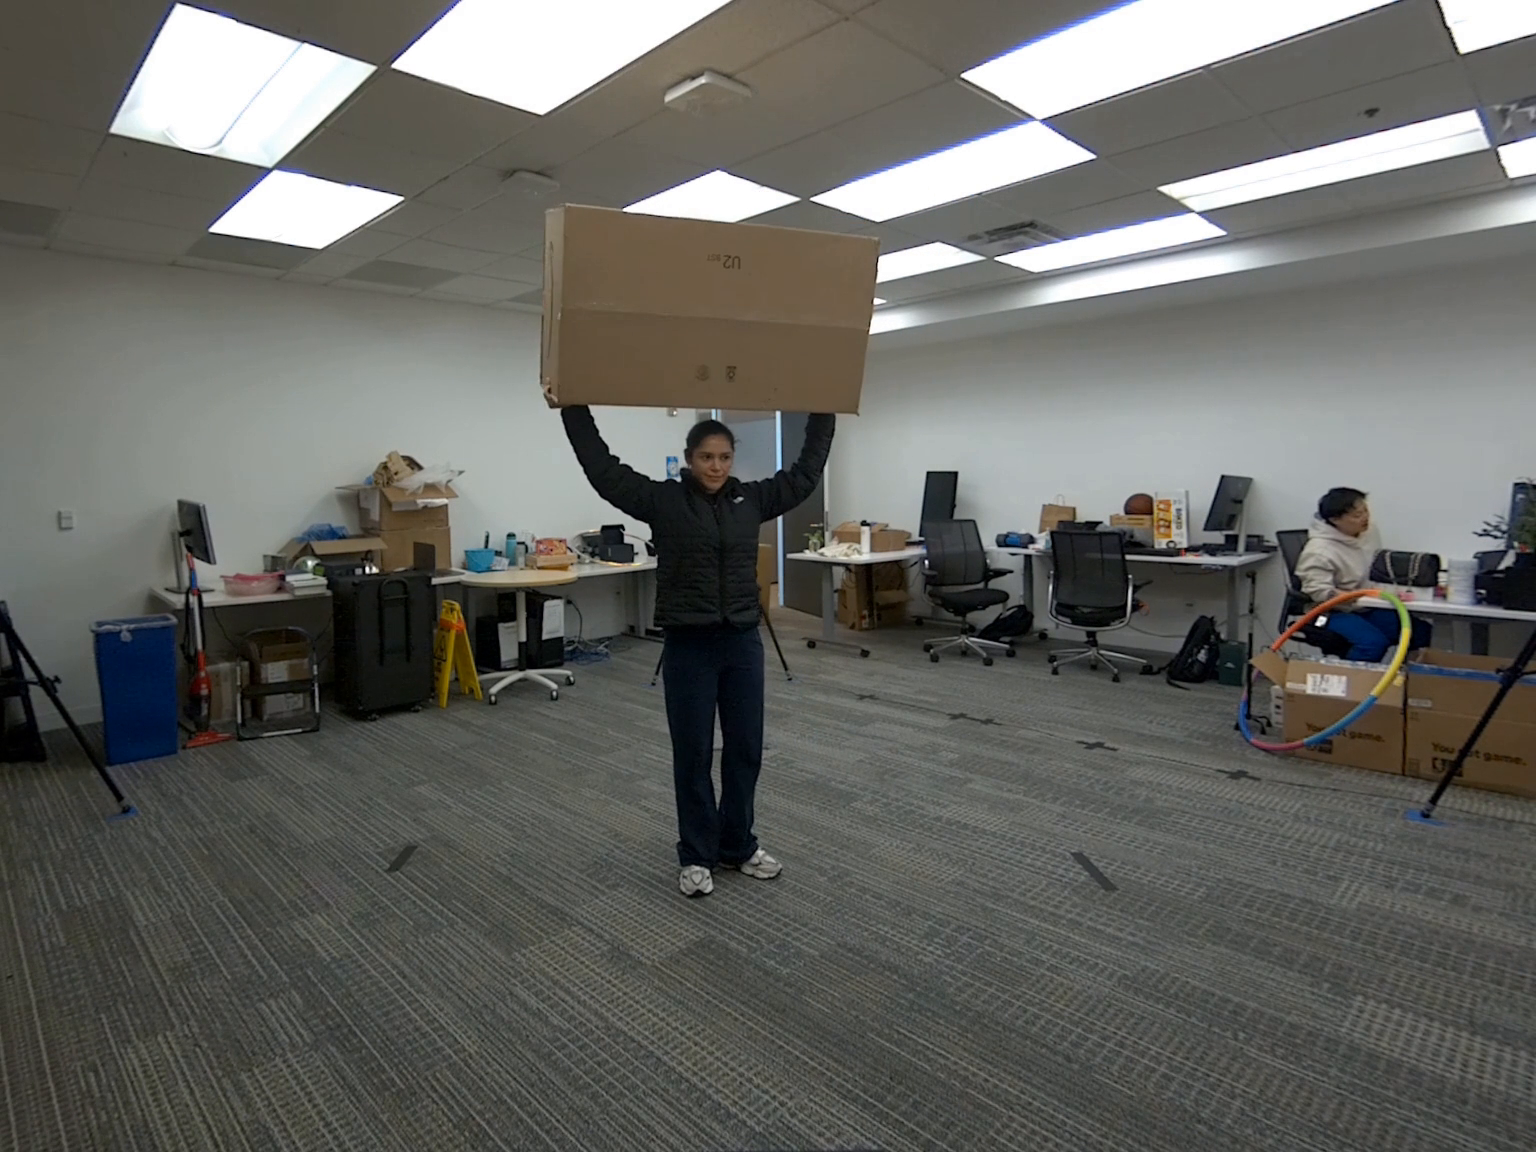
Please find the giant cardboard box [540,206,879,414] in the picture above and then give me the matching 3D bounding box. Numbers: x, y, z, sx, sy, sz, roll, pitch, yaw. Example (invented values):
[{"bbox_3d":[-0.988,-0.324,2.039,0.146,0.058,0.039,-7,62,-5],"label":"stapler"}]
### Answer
[{"bbox_3d":[-0.208,-0.870,2.863,1.008,0.576,0.461,-1,18,-21],"label":"giant cardboard box"}]
